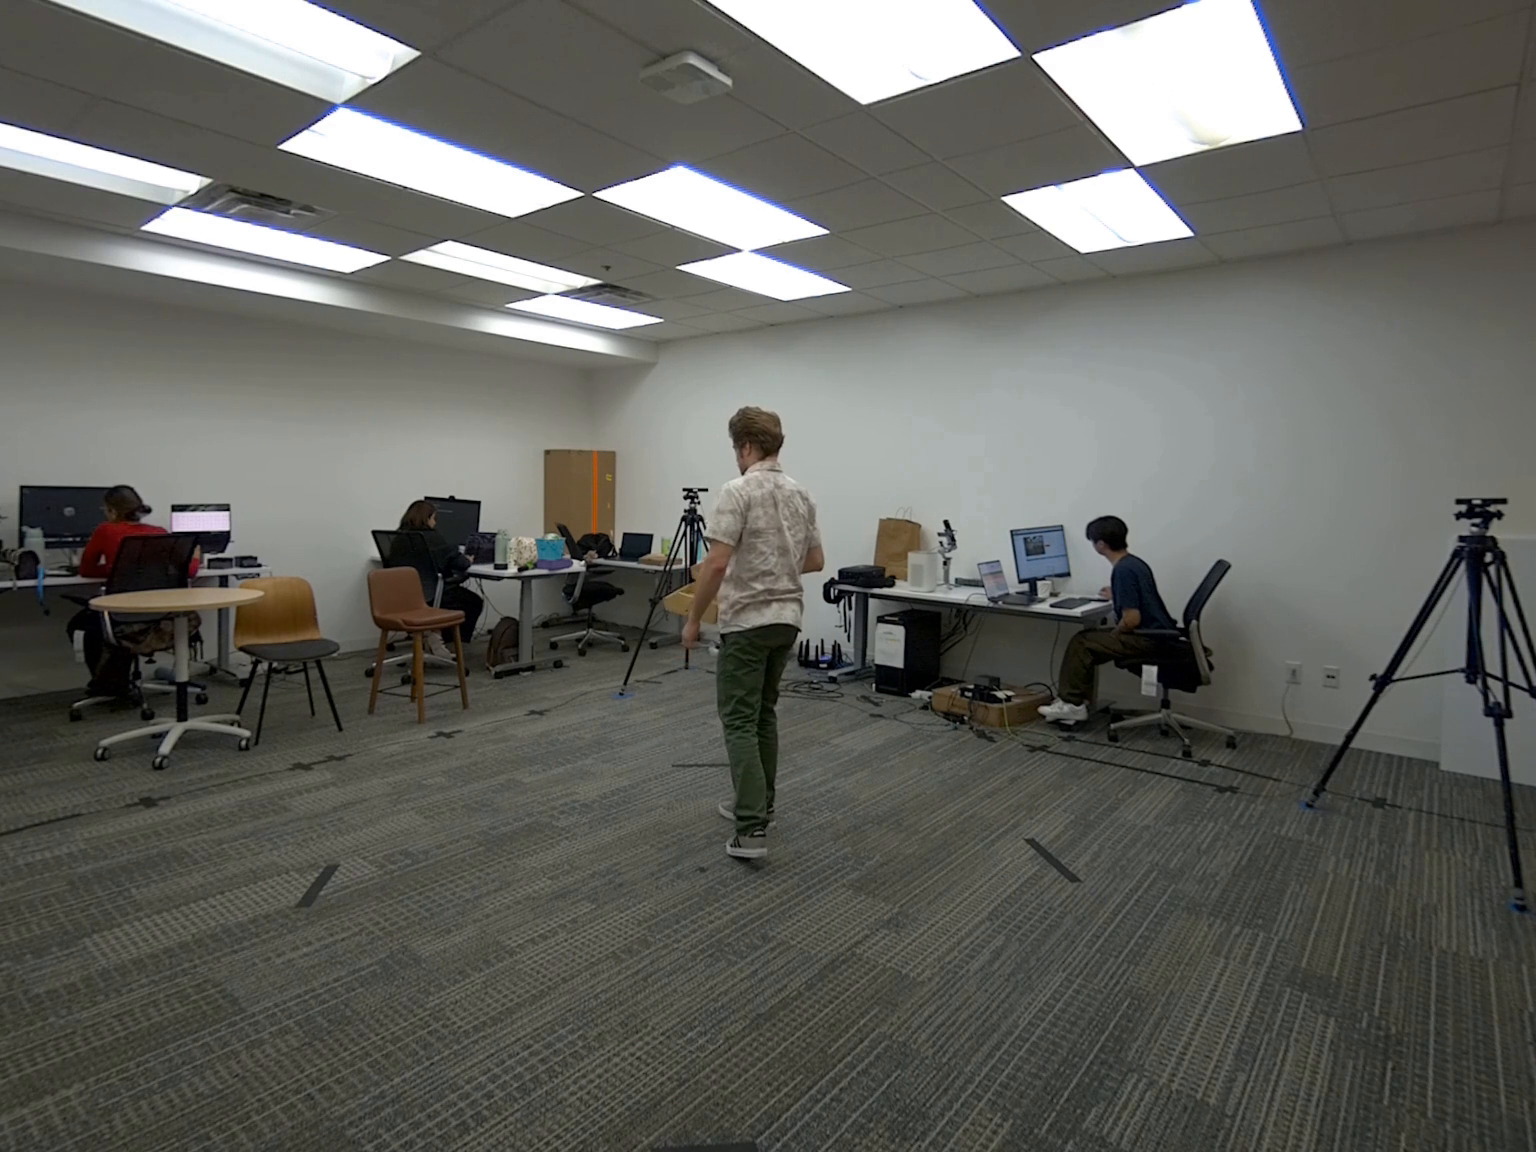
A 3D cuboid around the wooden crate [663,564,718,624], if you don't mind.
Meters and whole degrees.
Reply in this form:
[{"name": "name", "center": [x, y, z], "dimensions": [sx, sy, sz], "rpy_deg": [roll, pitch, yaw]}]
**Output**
[{"name": "wooden crate", "center": [-0.264, 0.027, 3.780], "dimensions": [0.308, 0.271, 0.321], "rpy_deg": [17, 15, 15]}]
